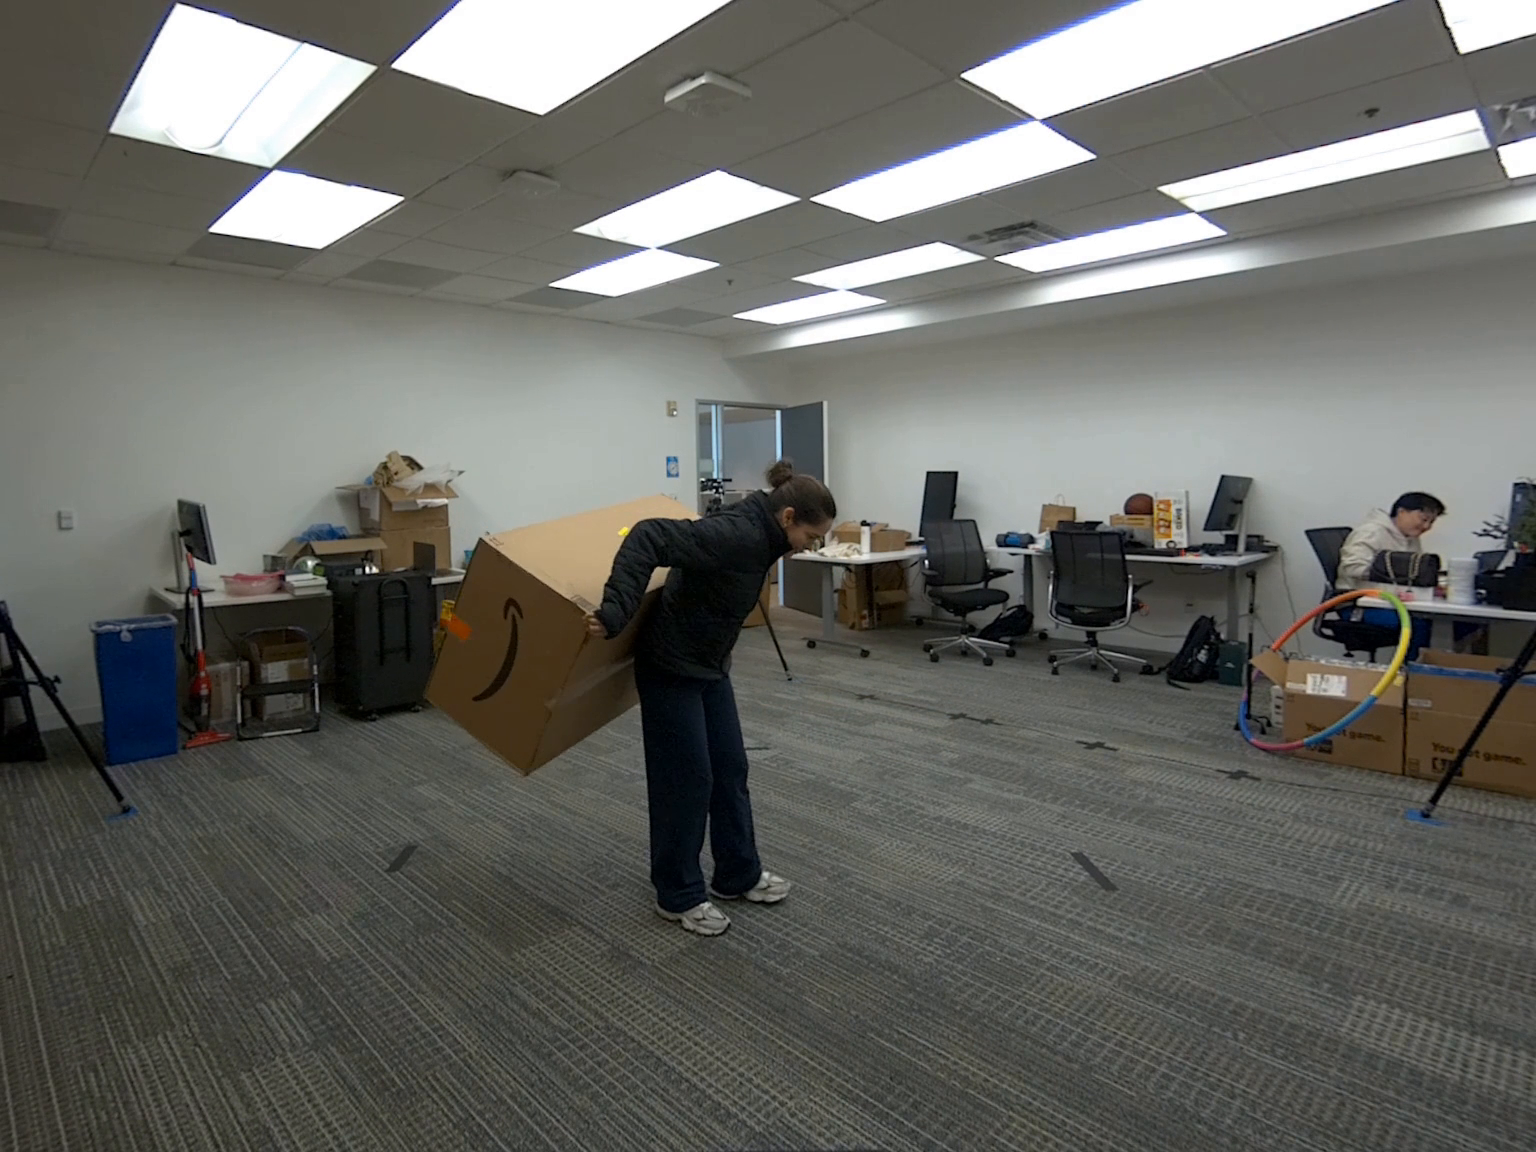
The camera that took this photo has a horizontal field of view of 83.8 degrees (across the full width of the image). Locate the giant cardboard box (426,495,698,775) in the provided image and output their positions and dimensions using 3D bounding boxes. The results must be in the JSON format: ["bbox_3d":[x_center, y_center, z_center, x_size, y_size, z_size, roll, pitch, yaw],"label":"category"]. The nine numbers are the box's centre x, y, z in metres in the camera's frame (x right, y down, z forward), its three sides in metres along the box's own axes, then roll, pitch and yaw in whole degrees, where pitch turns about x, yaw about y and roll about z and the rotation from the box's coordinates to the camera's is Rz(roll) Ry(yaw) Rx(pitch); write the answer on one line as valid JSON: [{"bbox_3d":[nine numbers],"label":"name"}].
[{"bbox_3d":[-0.554,0.134,2.889,0.436,0.573,1.012,32,22,15],"label":"giant cardboard box"}]
